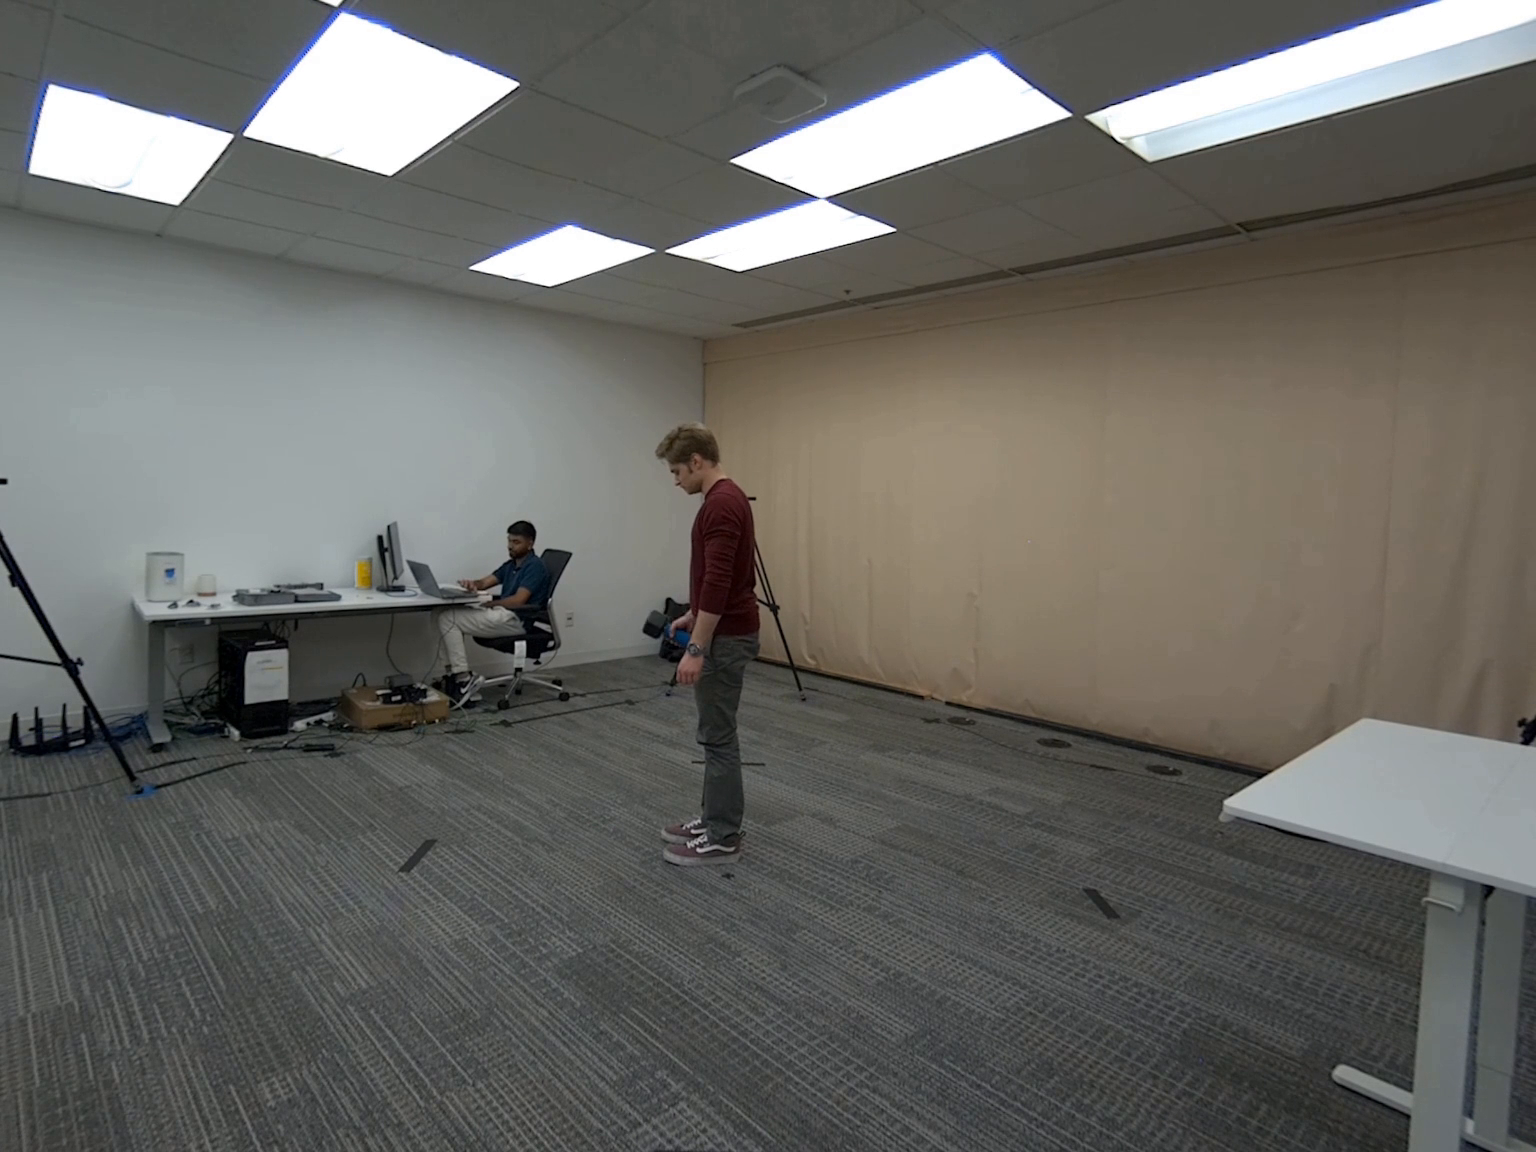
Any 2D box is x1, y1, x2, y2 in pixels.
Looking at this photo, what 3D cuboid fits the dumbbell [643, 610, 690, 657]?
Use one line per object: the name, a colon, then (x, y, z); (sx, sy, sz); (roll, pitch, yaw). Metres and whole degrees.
dumbbell: (-0.384, 0.248, 3.535); (0.294, 0.122, 0.109); (24, 28, 1)
